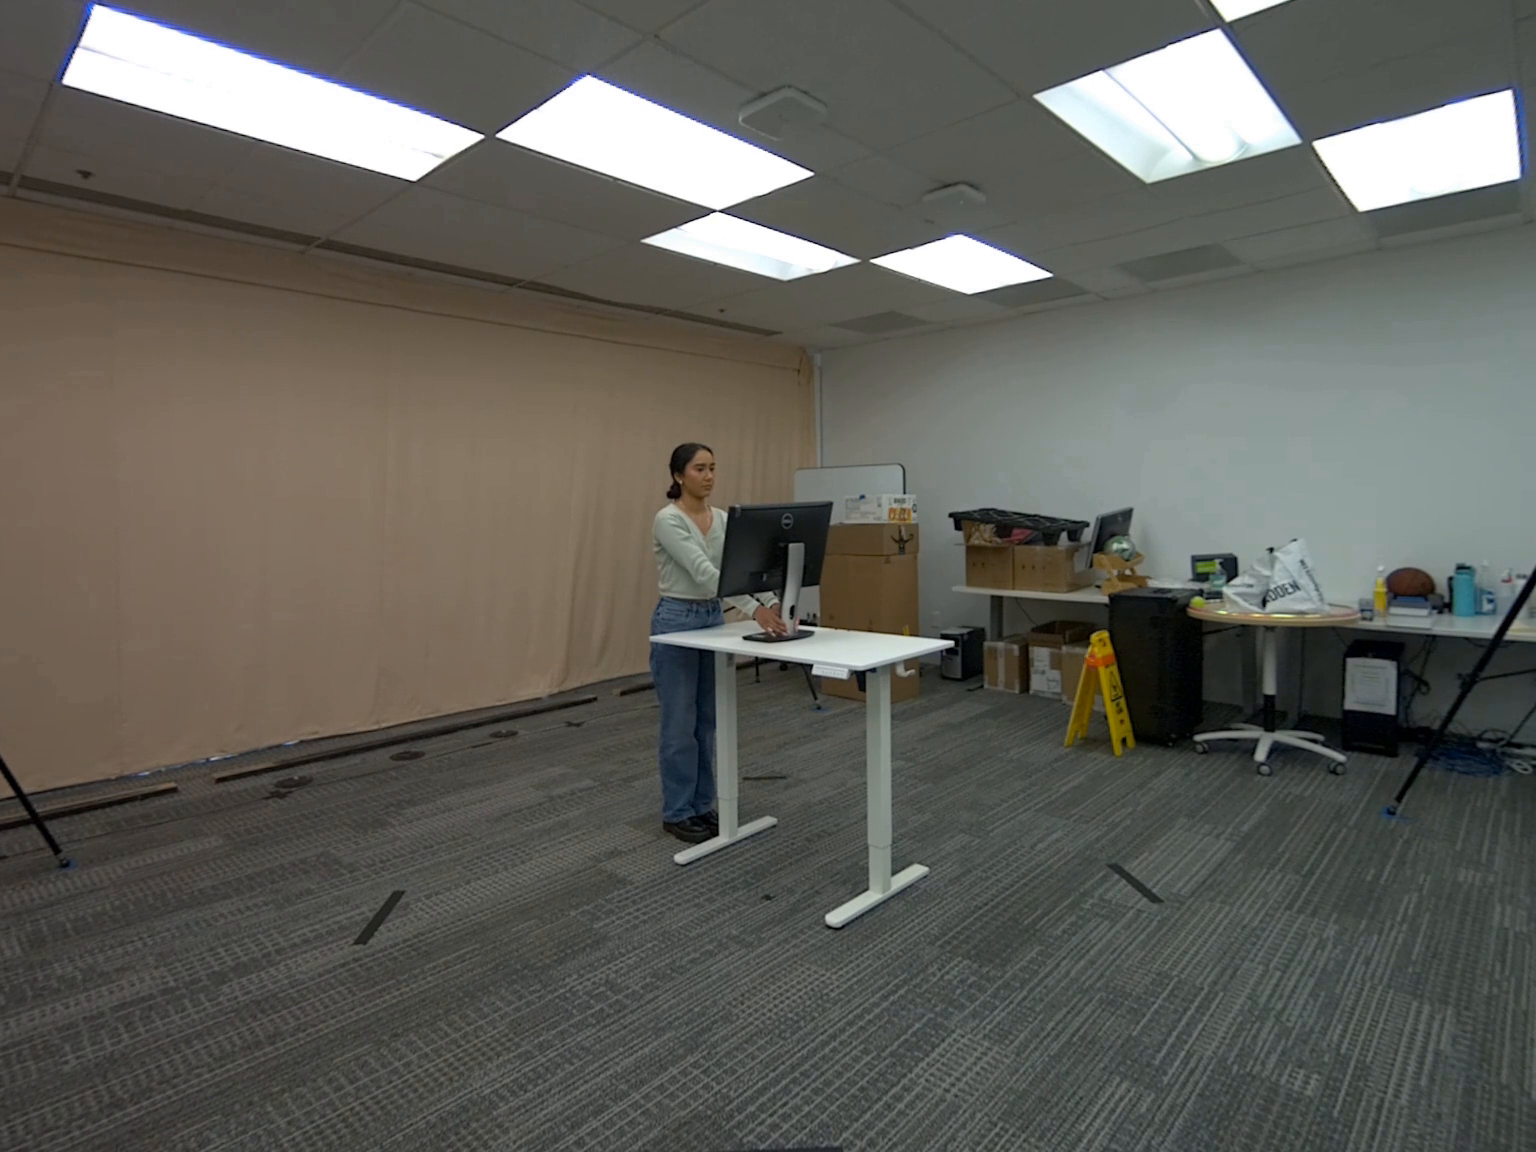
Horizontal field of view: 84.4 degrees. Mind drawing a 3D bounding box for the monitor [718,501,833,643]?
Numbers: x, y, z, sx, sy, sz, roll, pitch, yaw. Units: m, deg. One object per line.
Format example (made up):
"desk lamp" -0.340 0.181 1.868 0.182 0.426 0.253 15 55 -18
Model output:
"monitor" 0.068 -0.015 3.205 0.523 0.521 0.193 -5 6 -43
